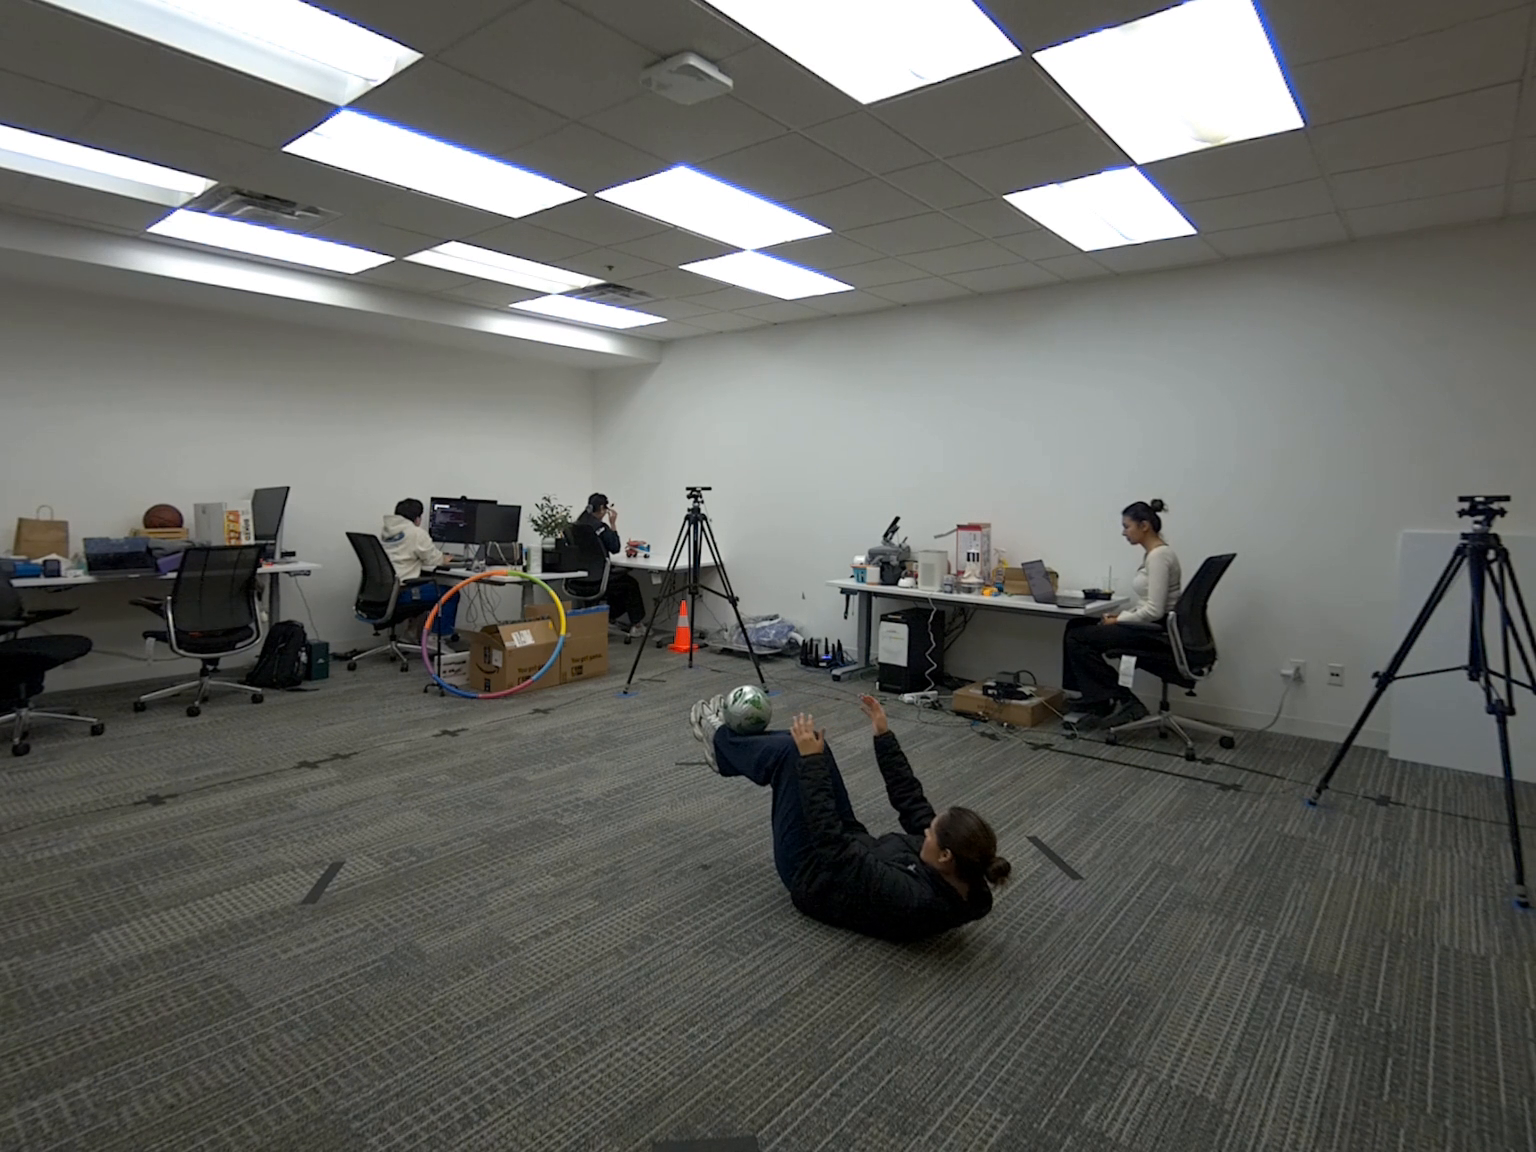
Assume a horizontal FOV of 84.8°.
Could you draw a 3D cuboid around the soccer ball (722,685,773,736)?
[{"bbox_3d":[-0.087,0.498,3.170,0.187,0.187,0.188,-3,3,-2],"label":"soccer ball"}]
